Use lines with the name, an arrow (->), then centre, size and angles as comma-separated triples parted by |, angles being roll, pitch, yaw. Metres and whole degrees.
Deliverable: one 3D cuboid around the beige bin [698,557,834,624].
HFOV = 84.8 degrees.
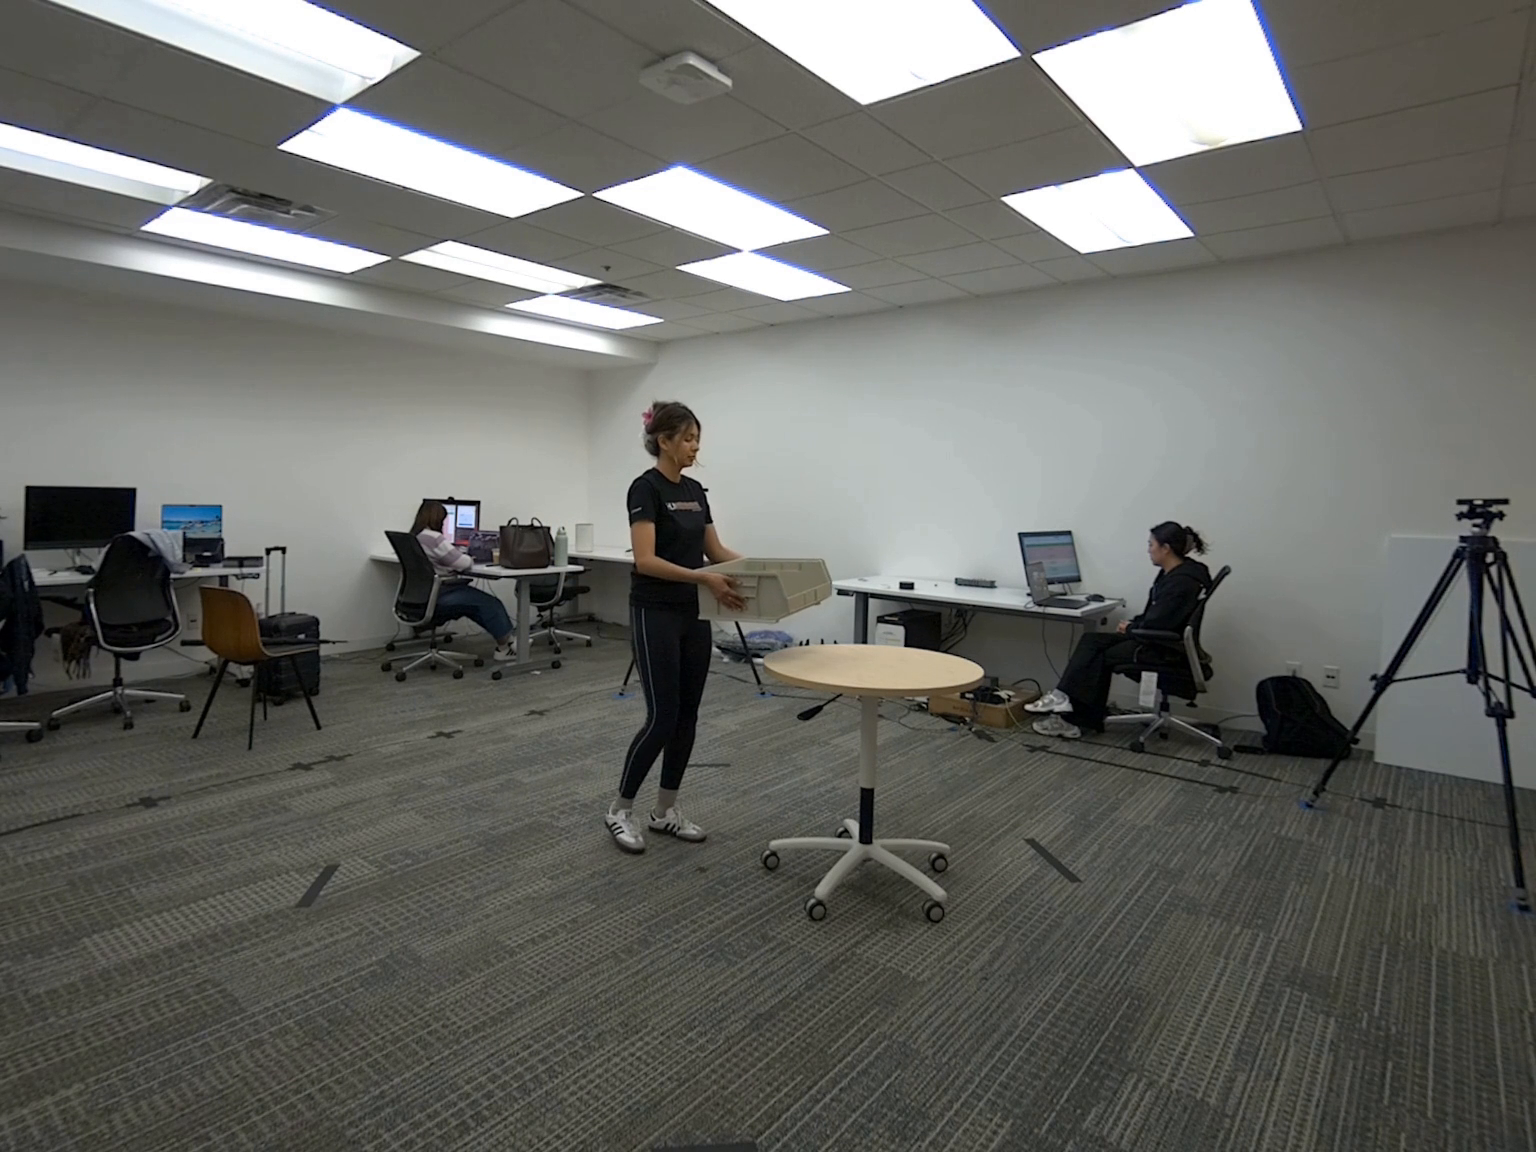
beige bin -> -0.023, 0.042, 3.183 | 0.387, 0.188, 0.414 | 0, 8, 27
